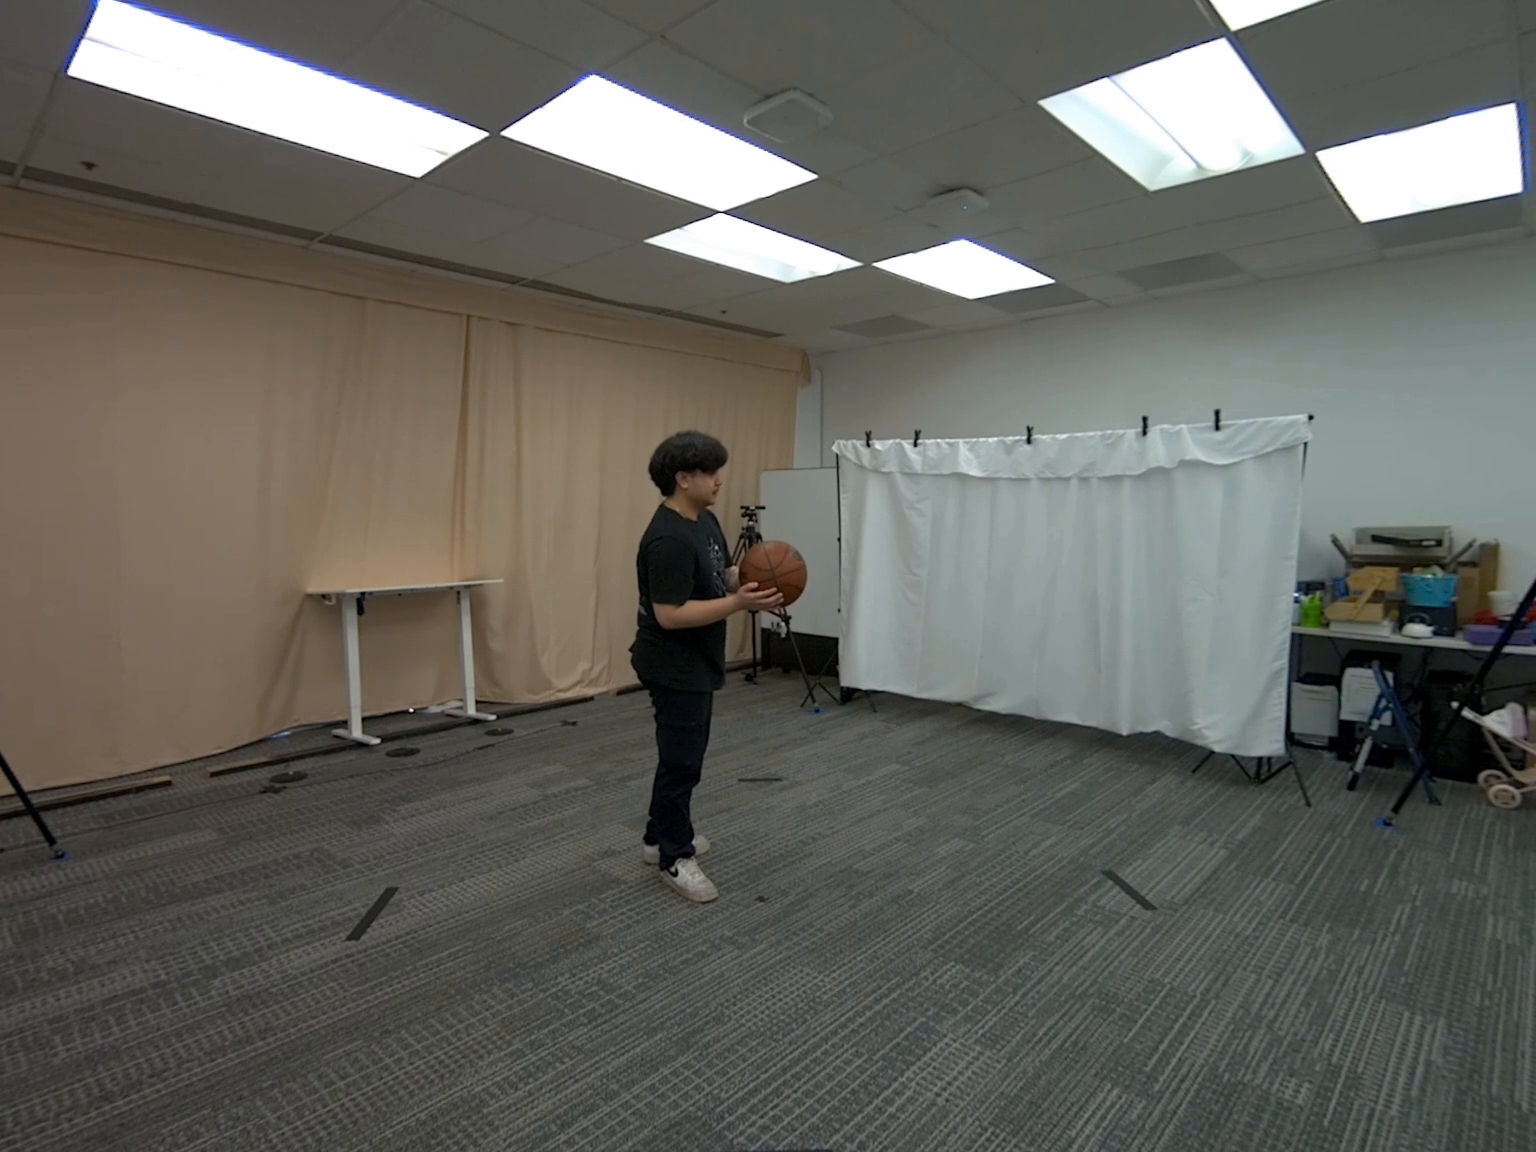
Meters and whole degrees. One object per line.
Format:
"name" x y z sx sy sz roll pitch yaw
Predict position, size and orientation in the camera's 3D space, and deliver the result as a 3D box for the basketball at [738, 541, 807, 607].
"basketball" 0.021 -0.006 2.905 0.236 0.235 0.237 0 4 -2
